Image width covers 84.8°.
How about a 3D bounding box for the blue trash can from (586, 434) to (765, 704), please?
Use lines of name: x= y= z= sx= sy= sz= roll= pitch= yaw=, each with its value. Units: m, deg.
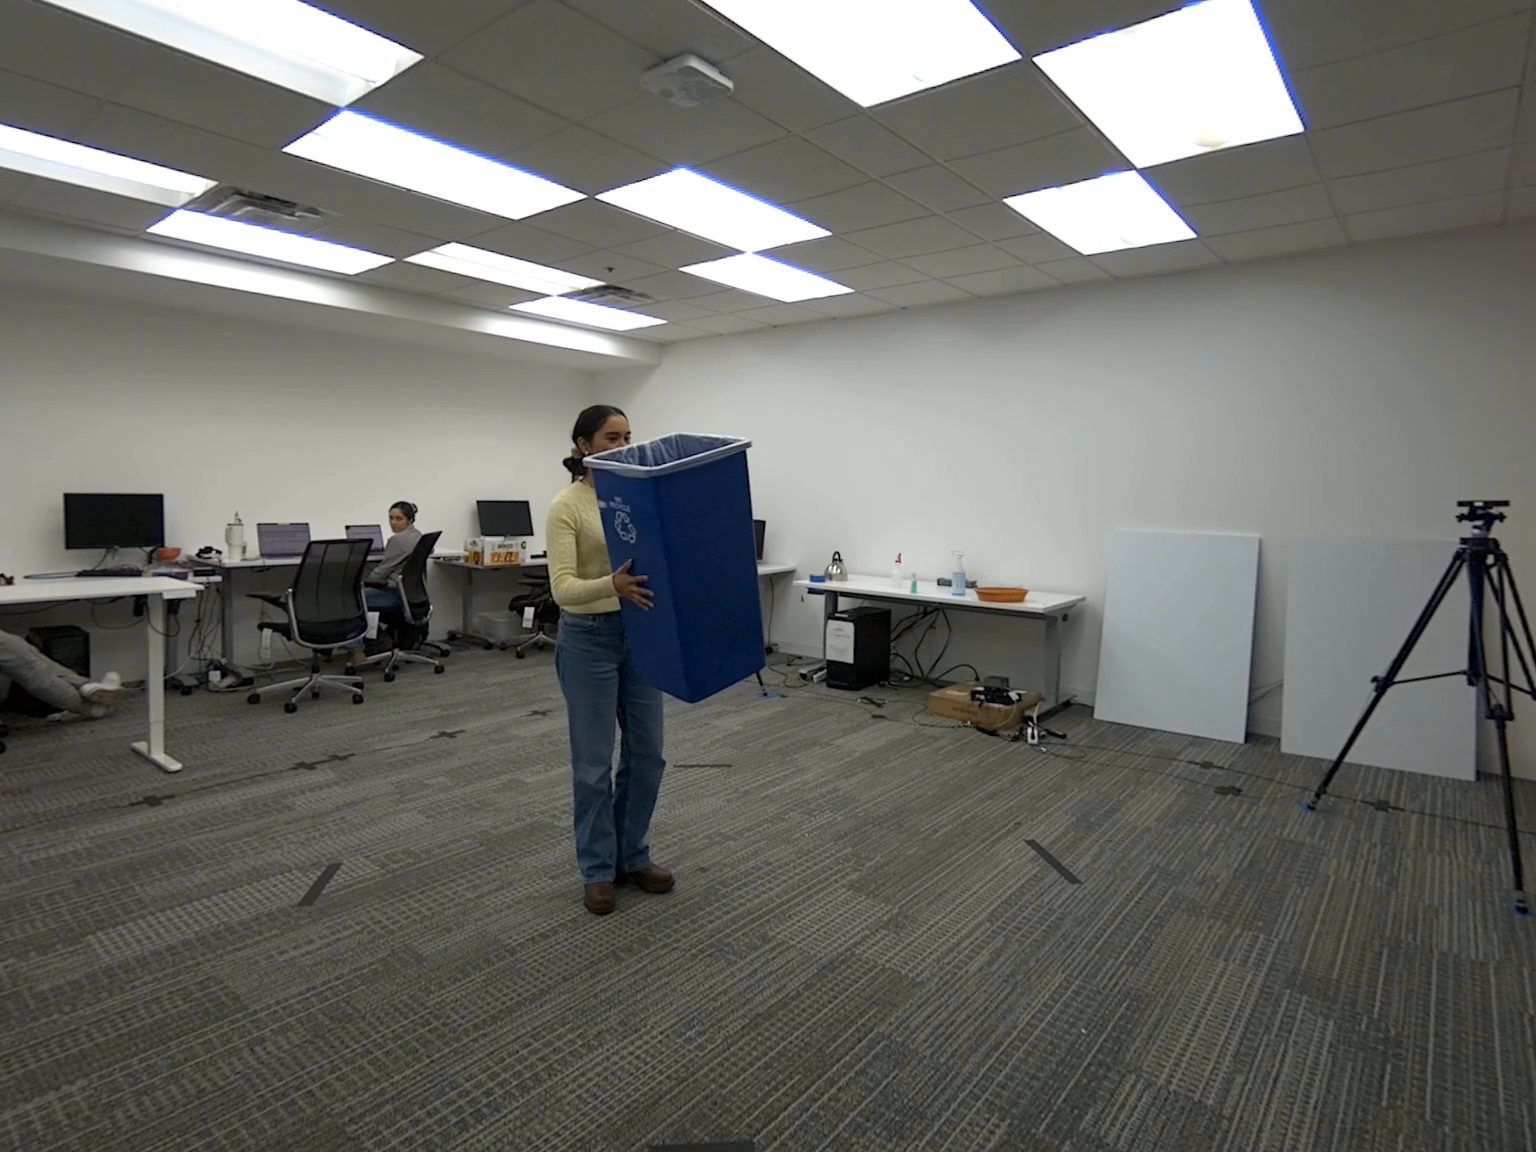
blue trash can: x=-0.254 y=-0.038 z=2.541 sx=0.371 sy=0.701 sz=0.388 roll=-21 pitch=21 yaw=-37
